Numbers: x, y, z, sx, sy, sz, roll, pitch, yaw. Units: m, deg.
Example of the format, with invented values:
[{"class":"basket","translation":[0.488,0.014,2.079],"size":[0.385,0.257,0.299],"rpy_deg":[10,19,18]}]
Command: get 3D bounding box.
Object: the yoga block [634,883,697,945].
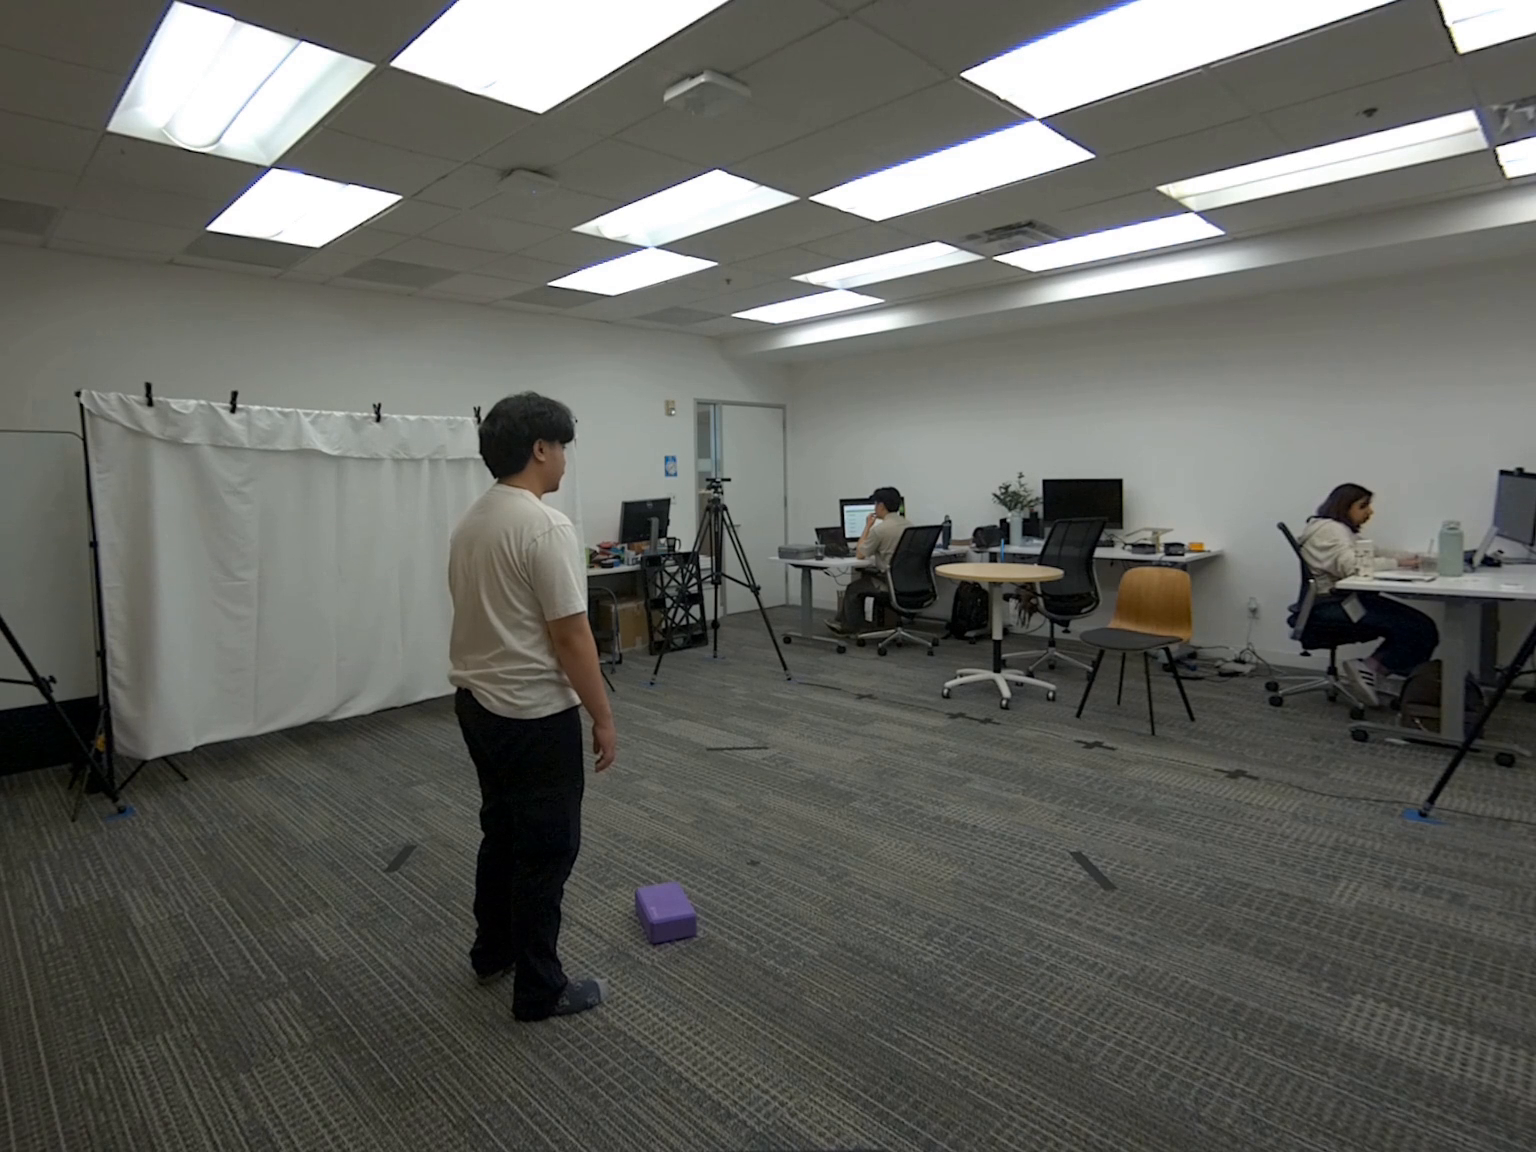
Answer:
[{"class":"yoga block","translation":[-0.318,1.055,2.690],"size":[0.146,0.076,0.234],"rpy_deg":[-2,7,-19]}]
